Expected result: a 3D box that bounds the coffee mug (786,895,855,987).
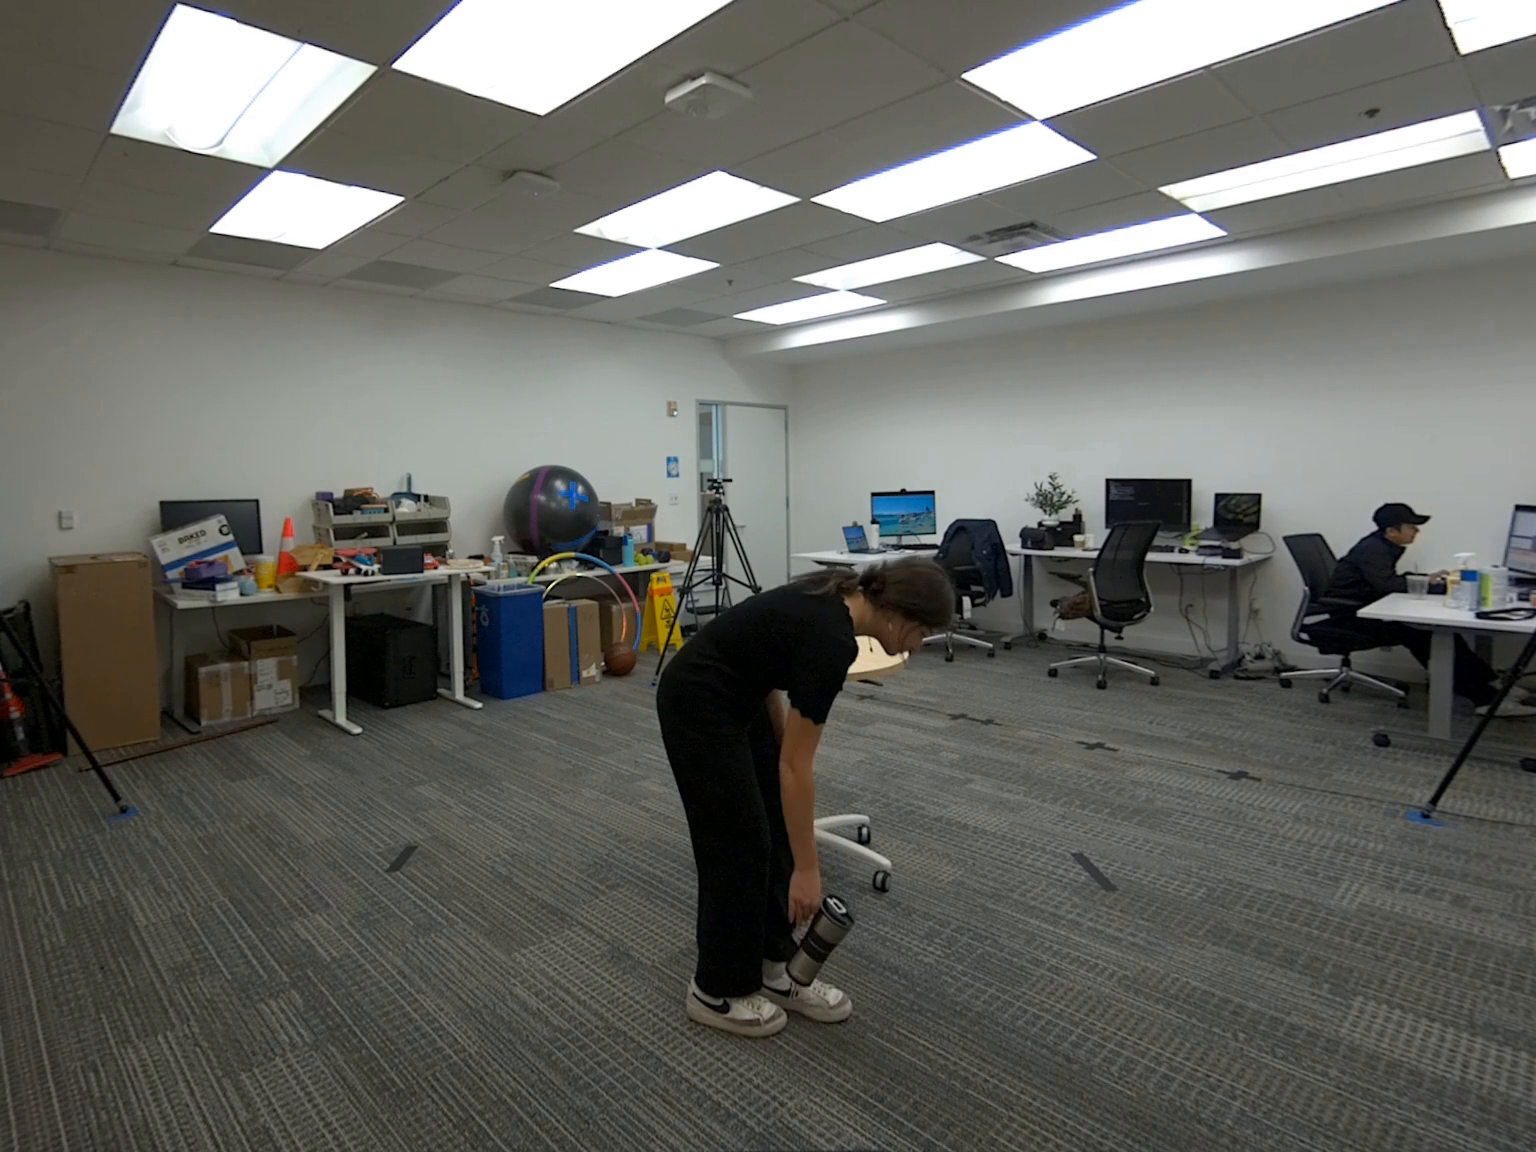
[{"bbox_3d":[0.114,0.858,2.014,0.085,0.202,0.127,11,22,-50],"label":"coffee mug"}]
